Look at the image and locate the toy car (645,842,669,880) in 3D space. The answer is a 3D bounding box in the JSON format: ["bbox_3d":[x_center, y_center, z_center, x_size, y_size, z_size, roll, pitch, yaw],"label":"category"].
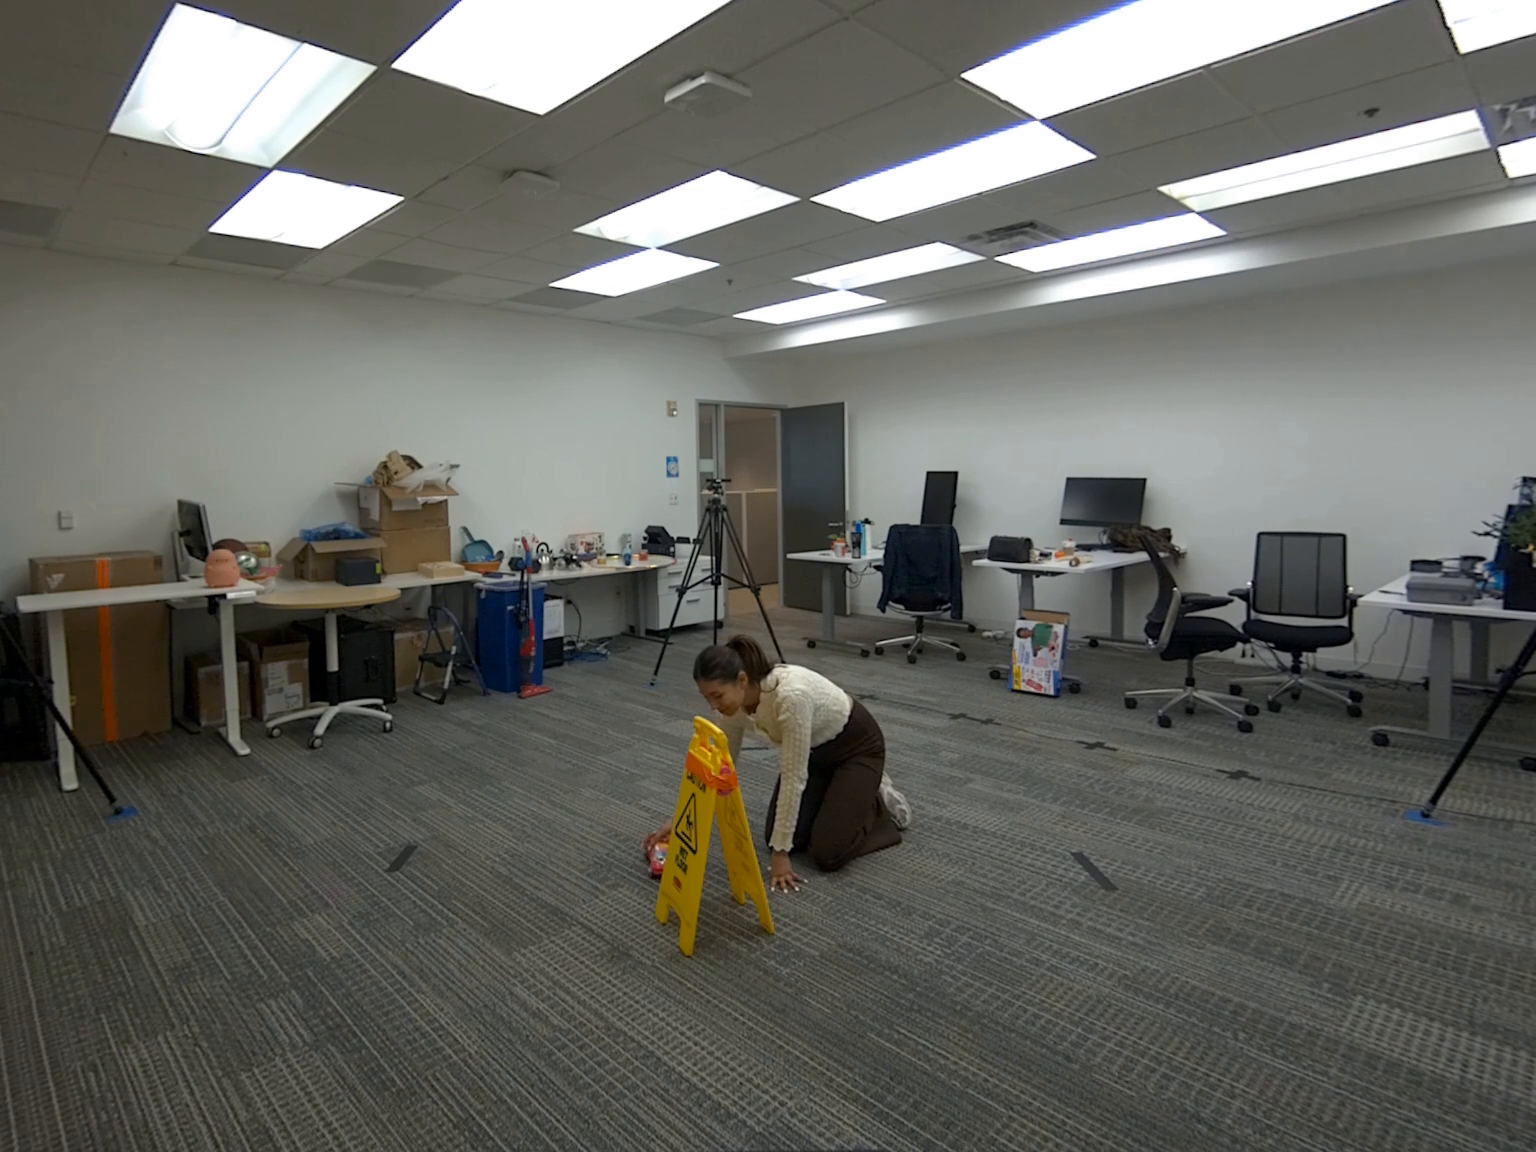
[{"bbox_3d":[-0.369,1.022,3.085,0.129,0.082,0.261,-3,16,-14],"label":"toy car"}]
